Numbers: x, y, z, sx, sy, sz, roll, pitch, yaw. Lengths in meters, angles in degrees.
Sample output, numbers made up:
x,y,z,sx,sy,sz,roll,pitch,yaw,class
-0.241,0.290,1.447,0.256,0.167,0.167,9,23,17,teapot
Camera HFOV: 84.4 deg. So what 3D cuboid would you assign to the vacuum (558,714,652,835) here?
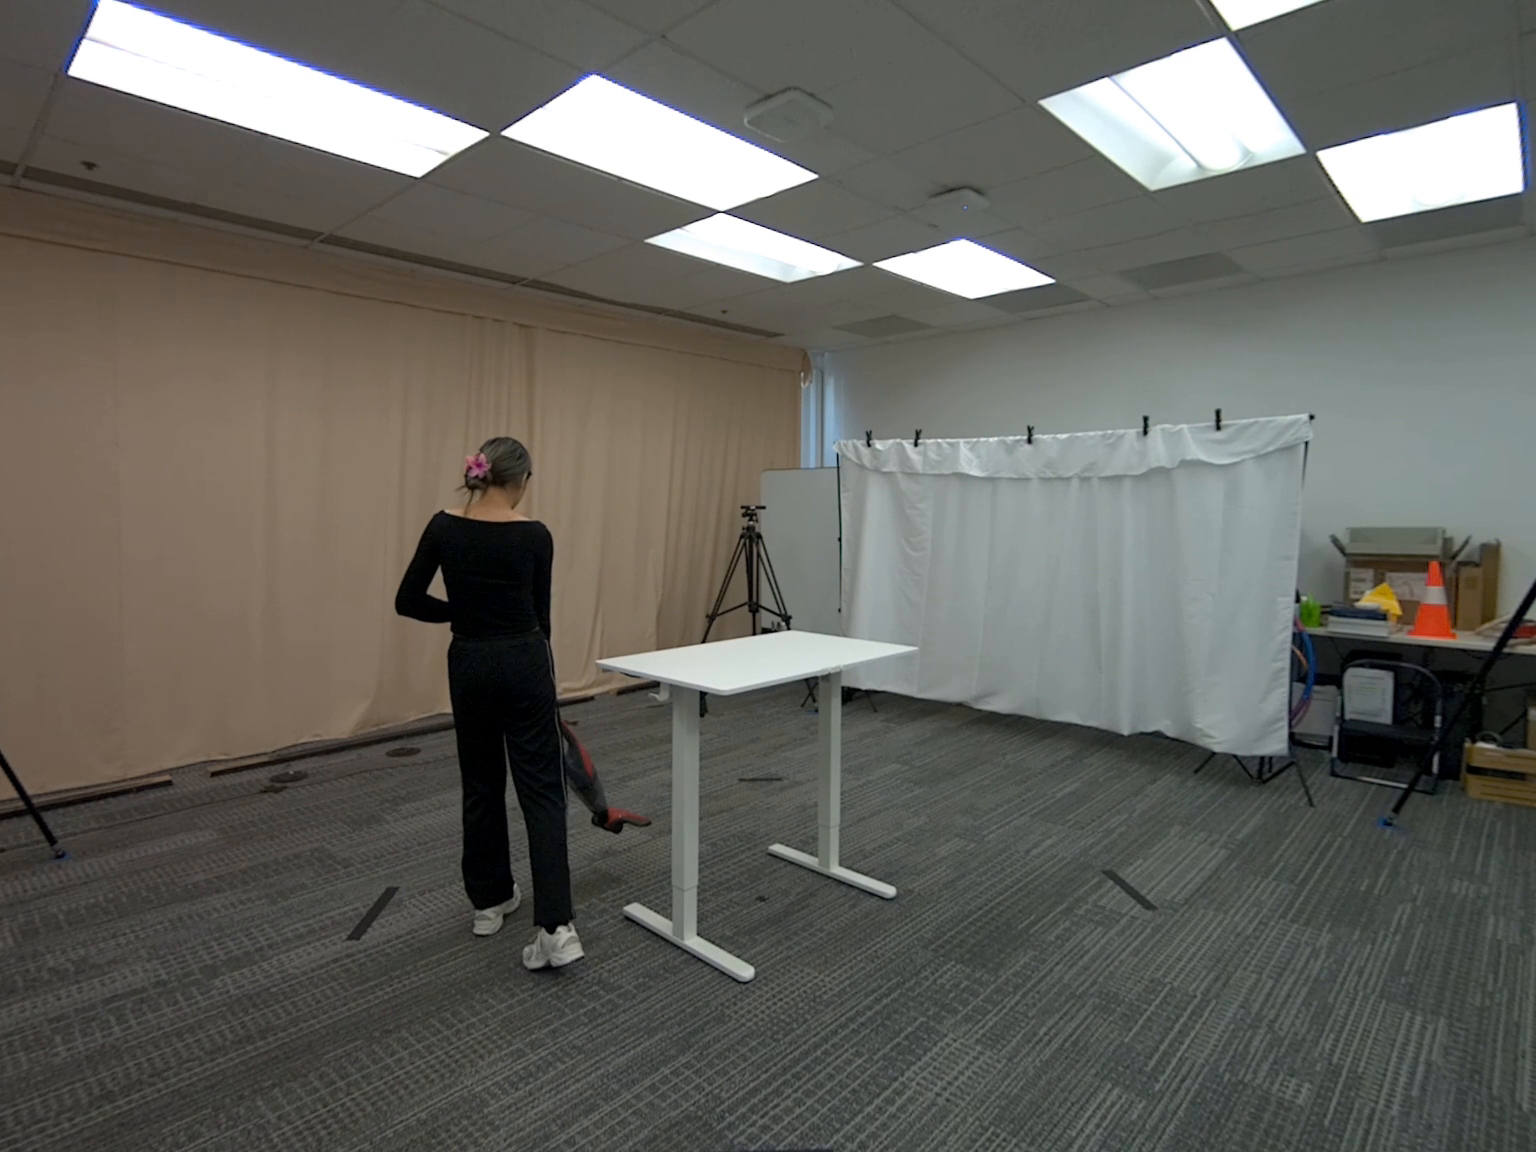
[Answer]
x,y,z,sx,sy,sz,roll,pitch,yaw,class
-0.771,0.542,3.011,0.260,1.025,0.143,-1,34,41,vacuum
